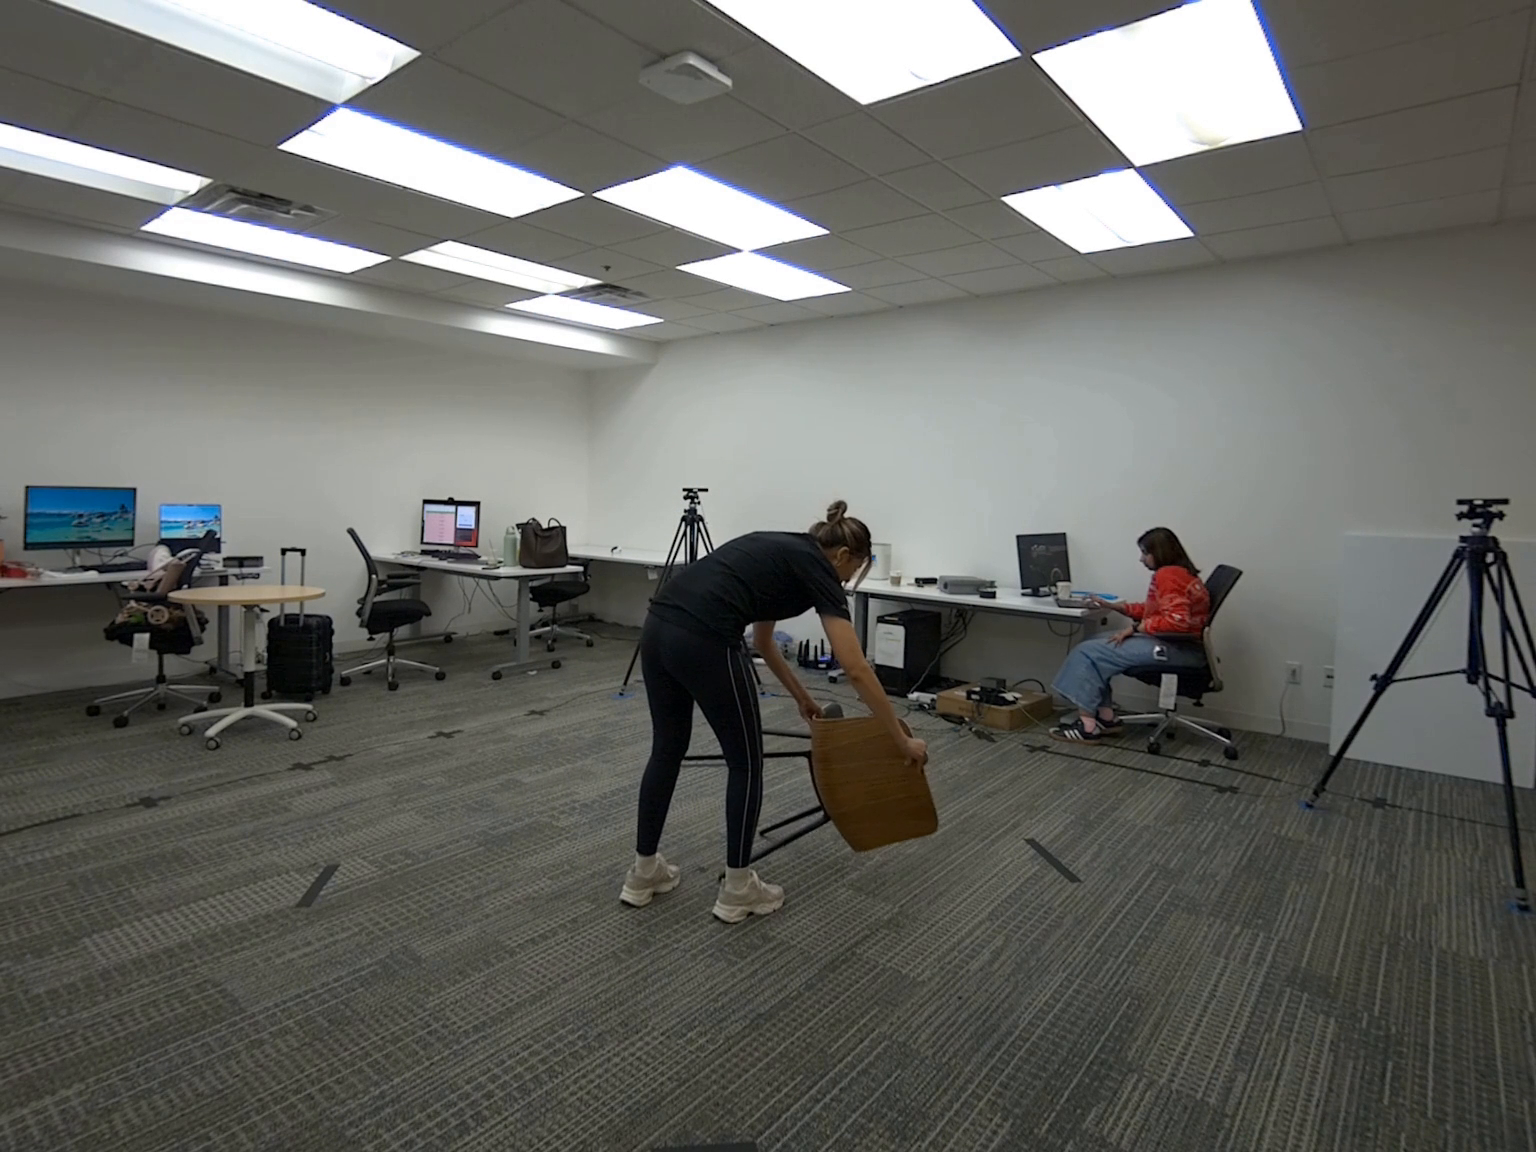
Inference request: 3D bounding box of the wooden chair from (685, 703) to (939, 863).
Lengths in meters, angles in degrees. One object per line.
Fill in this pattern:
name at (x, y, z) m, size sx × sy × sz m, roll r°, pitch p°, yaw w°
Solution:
wooden chair at (0.212, 0.729, 3.100) m, size 0.892 × 0.481 × 0.512 m, roll -18°, pitch -3°, yaw 25°
